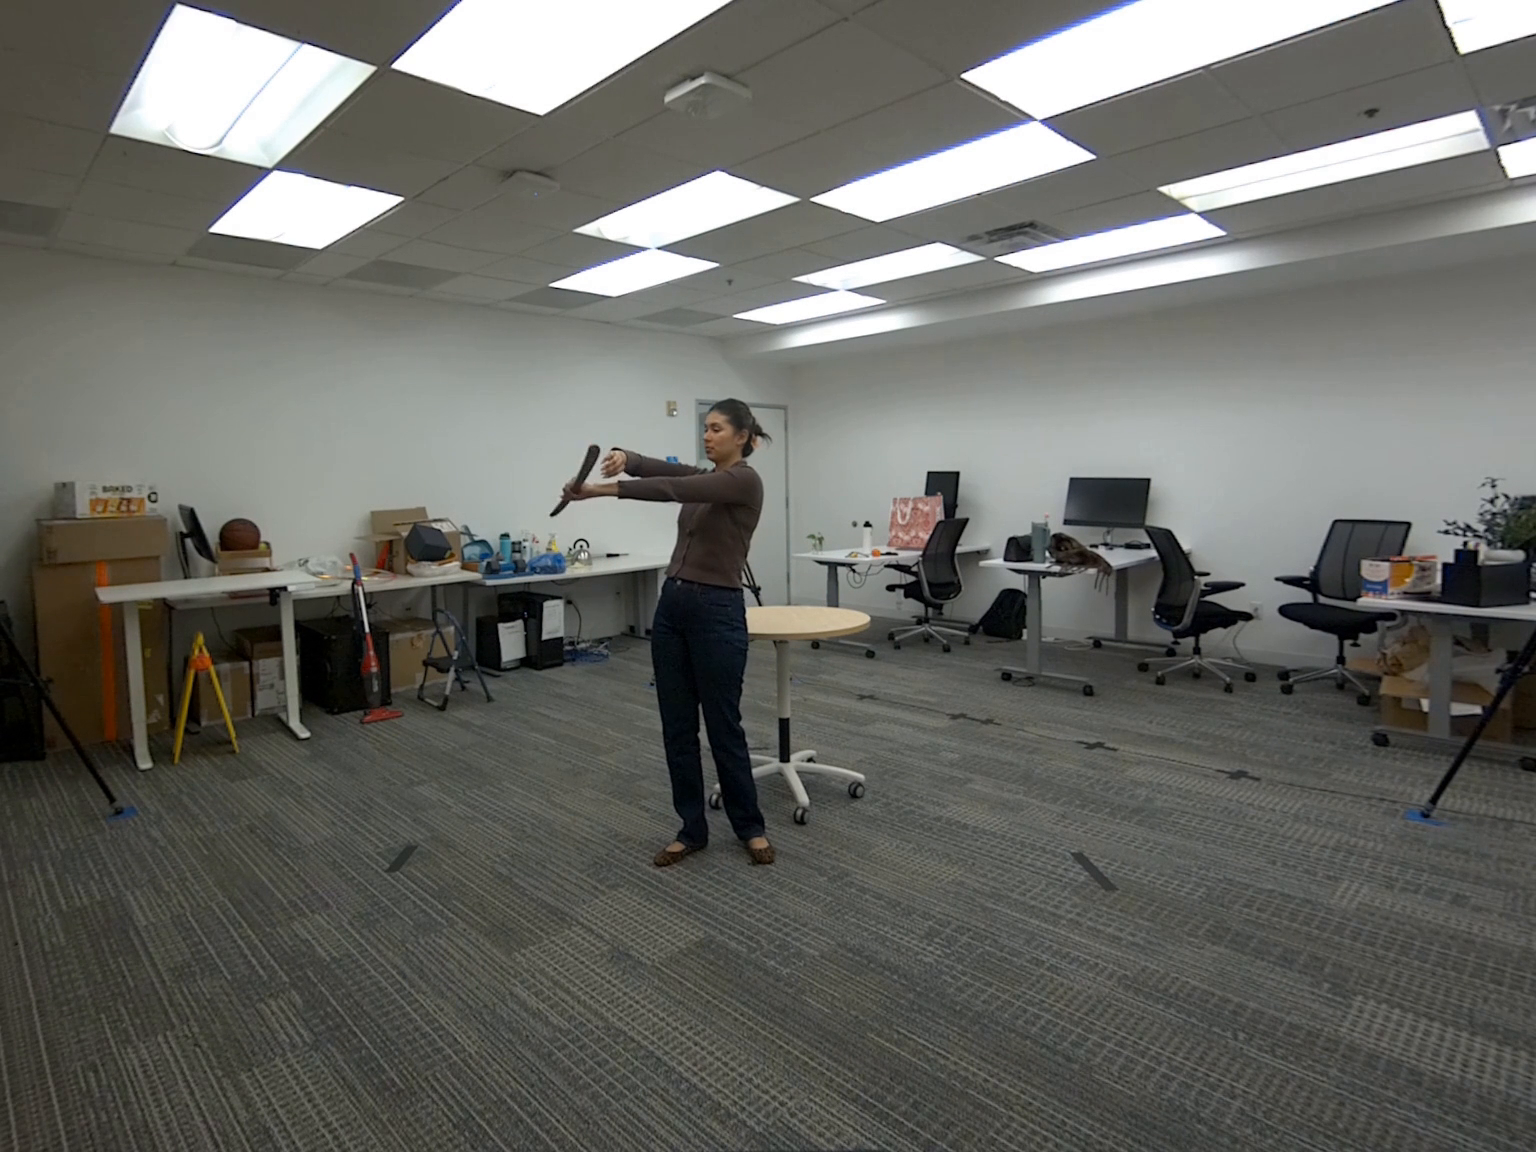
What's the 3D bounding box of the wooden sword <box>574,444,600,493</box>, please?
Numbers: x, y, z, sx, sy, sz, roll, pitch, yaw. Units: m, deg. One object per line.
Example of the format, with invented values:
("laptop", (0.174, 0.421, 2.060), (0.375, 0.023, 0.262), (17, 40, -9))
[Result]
("wooden sword", (-0.574, -0.290, 2.810), (0.051, 0.024, 1.027), (-8, -5, -12))
